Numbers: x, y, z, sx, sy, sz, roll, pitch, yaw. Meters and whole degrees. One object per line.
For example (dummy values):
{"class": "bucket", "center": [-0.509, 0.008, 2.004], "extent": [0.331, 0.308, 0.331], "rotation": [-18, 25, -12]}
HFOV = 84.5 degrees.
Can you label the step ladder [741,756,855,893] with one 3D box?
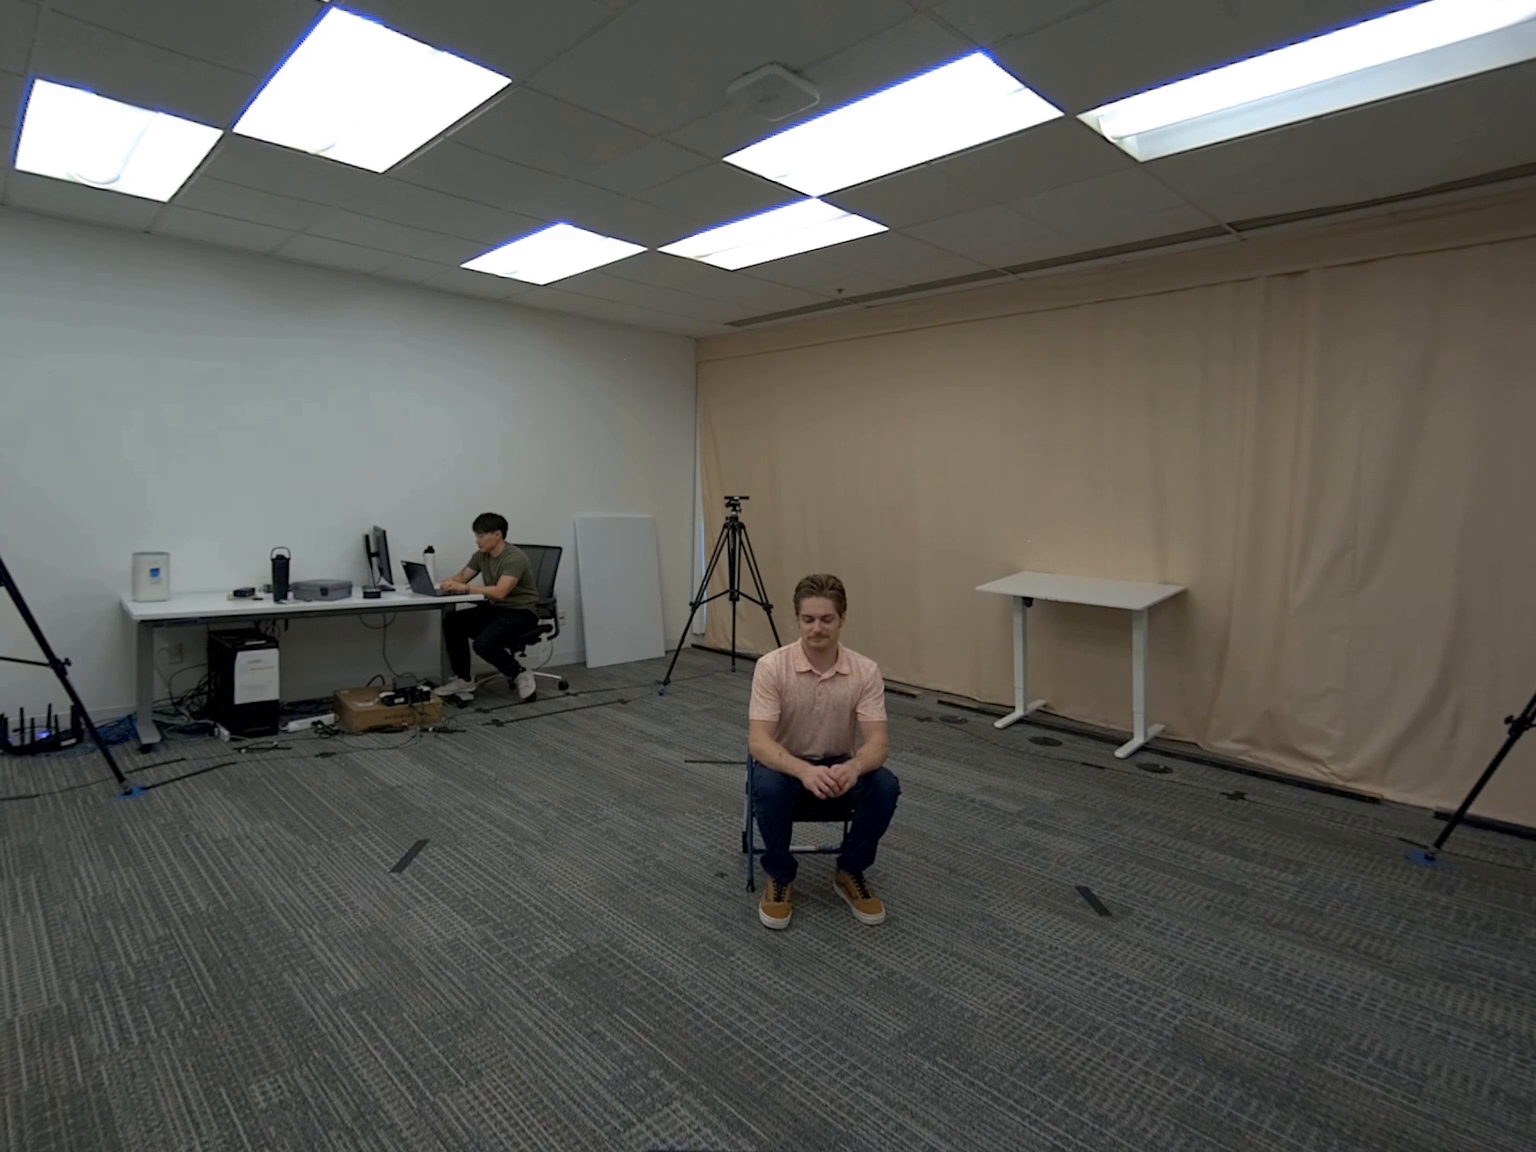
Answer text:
{"class": "step ladder", "center": [0.121, 0.813, 3.149], "extent": [0.429, 0.604, 0.351], "rotation": [1, 4, -5]}
